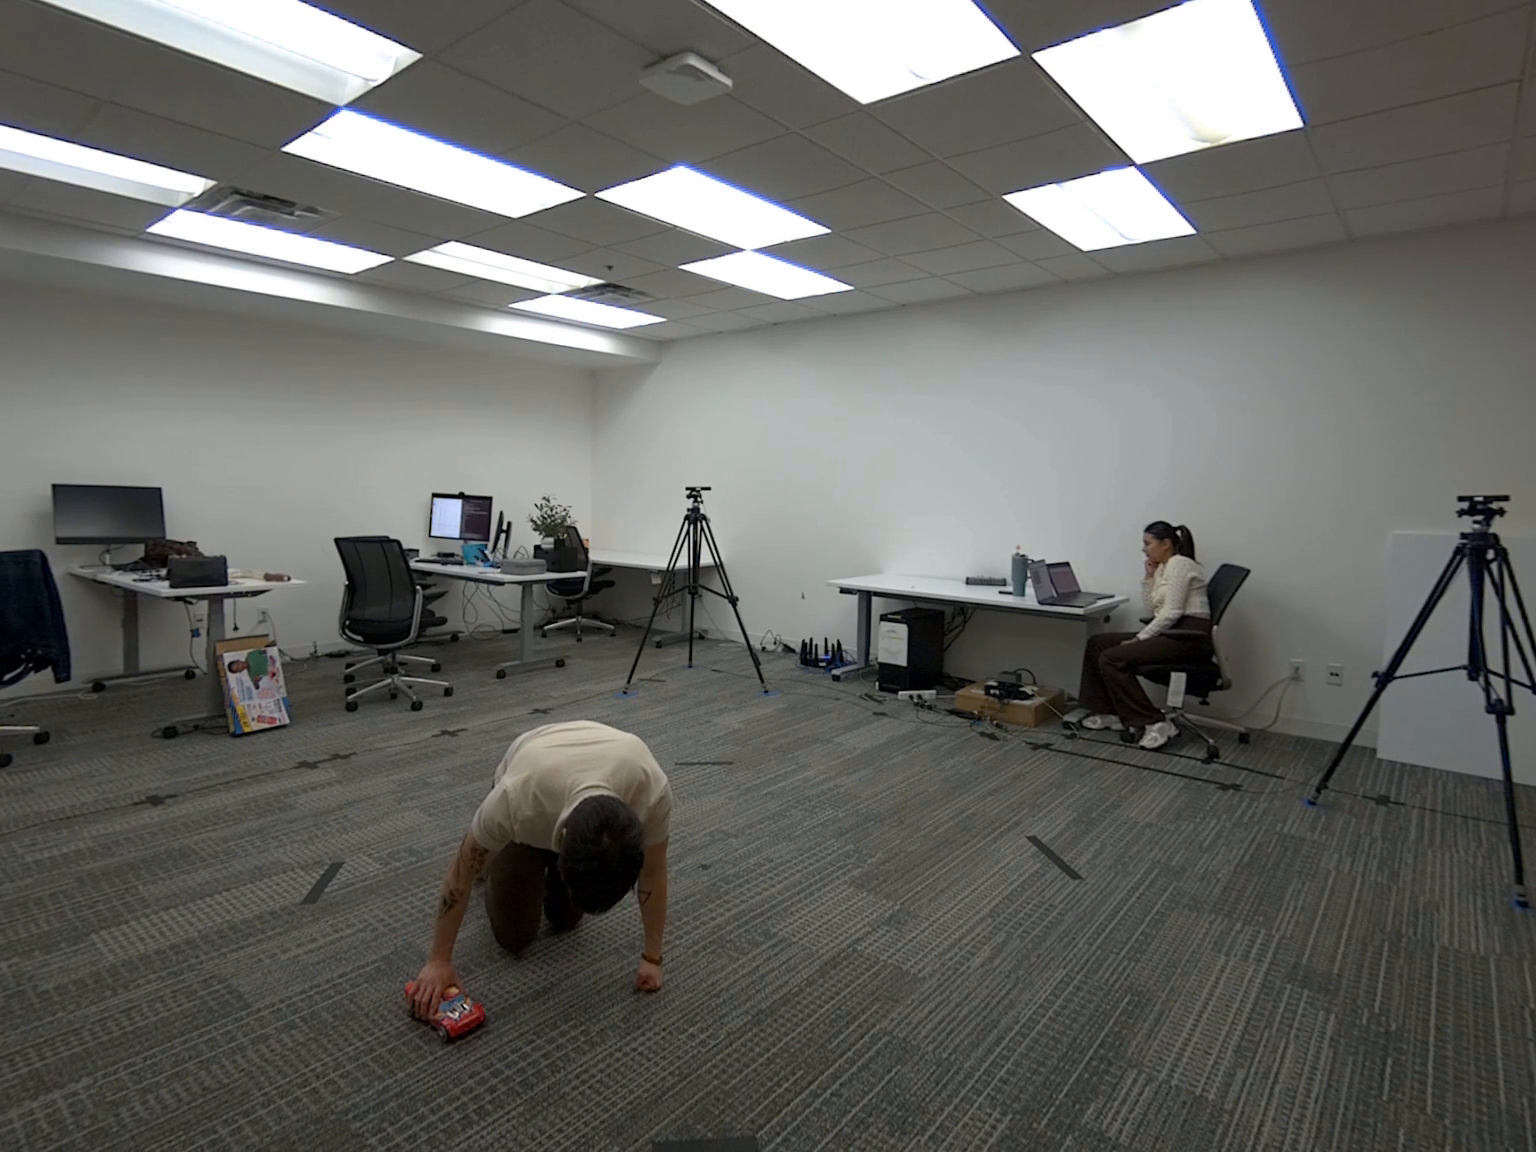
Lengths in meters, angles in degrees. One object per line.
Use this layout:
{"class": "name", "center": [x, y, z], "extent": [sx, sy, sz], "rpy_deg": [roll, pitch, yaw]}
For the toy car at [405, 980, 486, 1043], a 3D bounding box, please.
{"class": "toy car", "center": [-0.861, 1.117, 2.214], "extent": [0.264, 0.082, 0.127], "rpy_deg": [17, 16, 39]}
